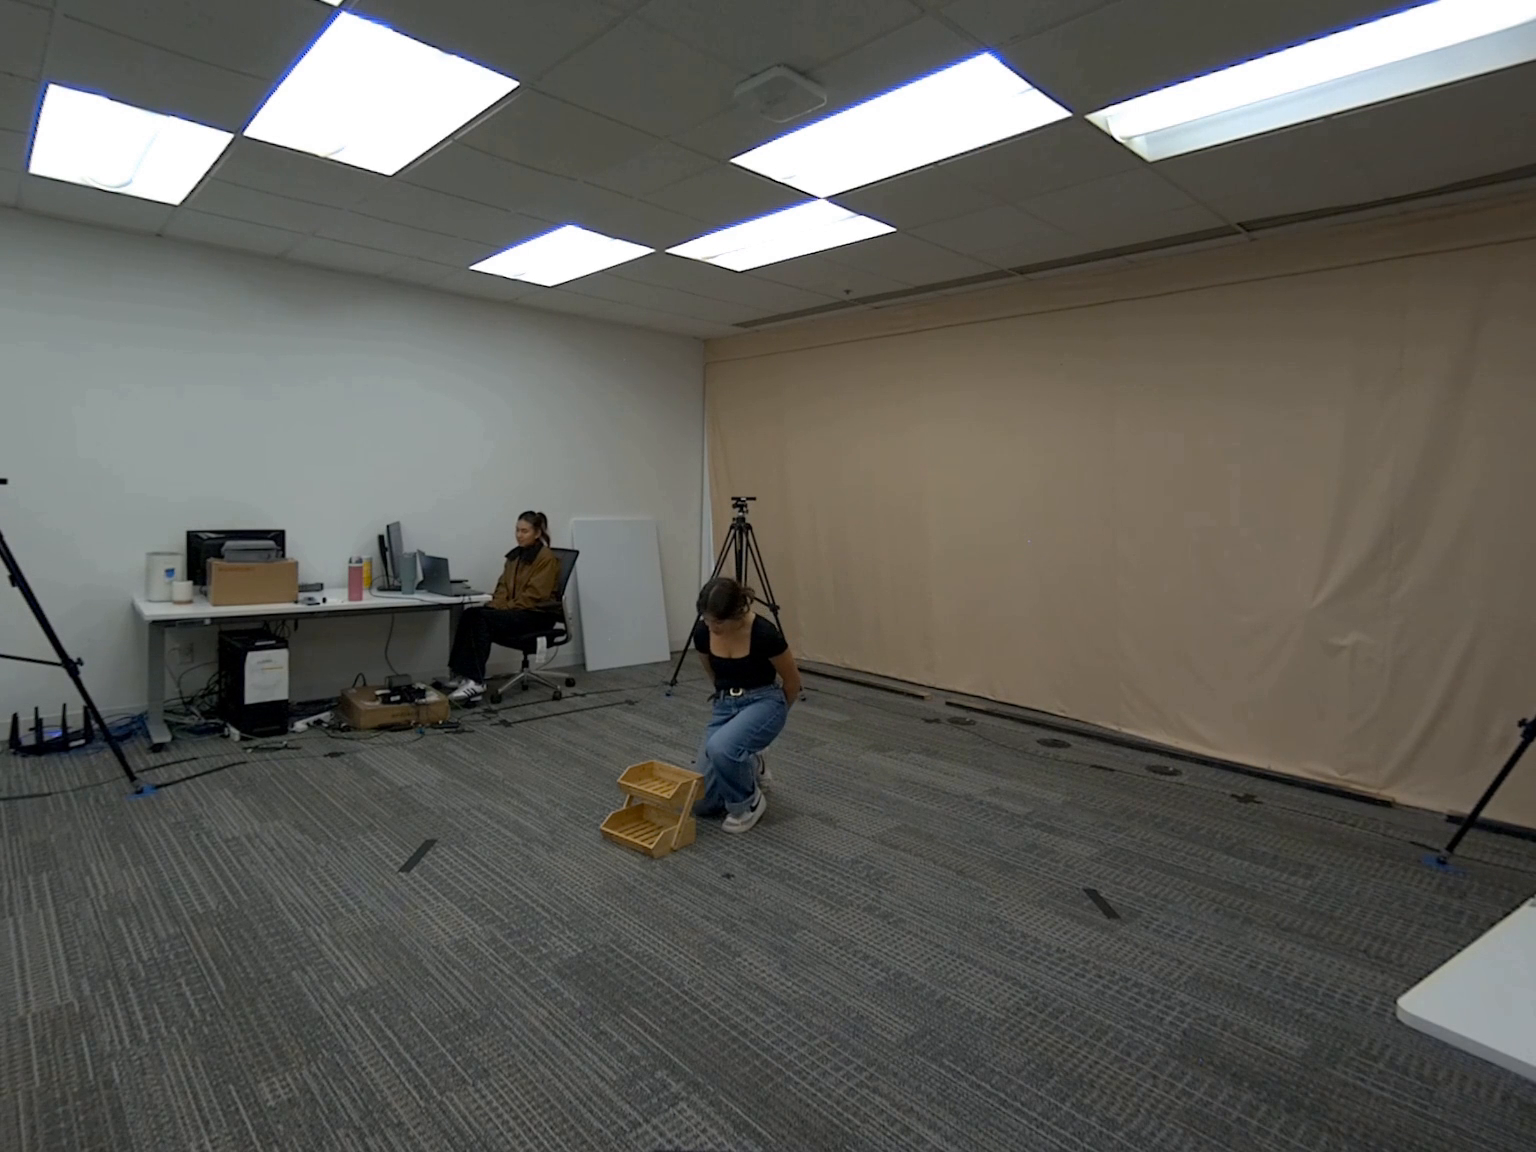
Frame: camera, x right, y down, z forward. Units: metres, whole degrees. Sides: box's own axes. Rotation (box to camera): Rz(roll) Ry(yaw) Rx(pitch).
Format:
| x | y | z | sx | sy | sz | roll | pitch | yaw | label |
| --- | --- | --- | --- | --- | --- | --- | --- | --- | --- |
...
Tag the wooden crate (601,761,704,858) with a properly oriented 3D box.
| x | y | z | sx | sy | sz | roll | pitch | yaw | label |
| --- | --- | --- | --- | --- | --- | --- | --- | --- | --- |
| -0.483 | 0.940 | 3.422 | 0.332 | 0.273 | 0.295 | 4 | 4 | 38 | wooden crate |
